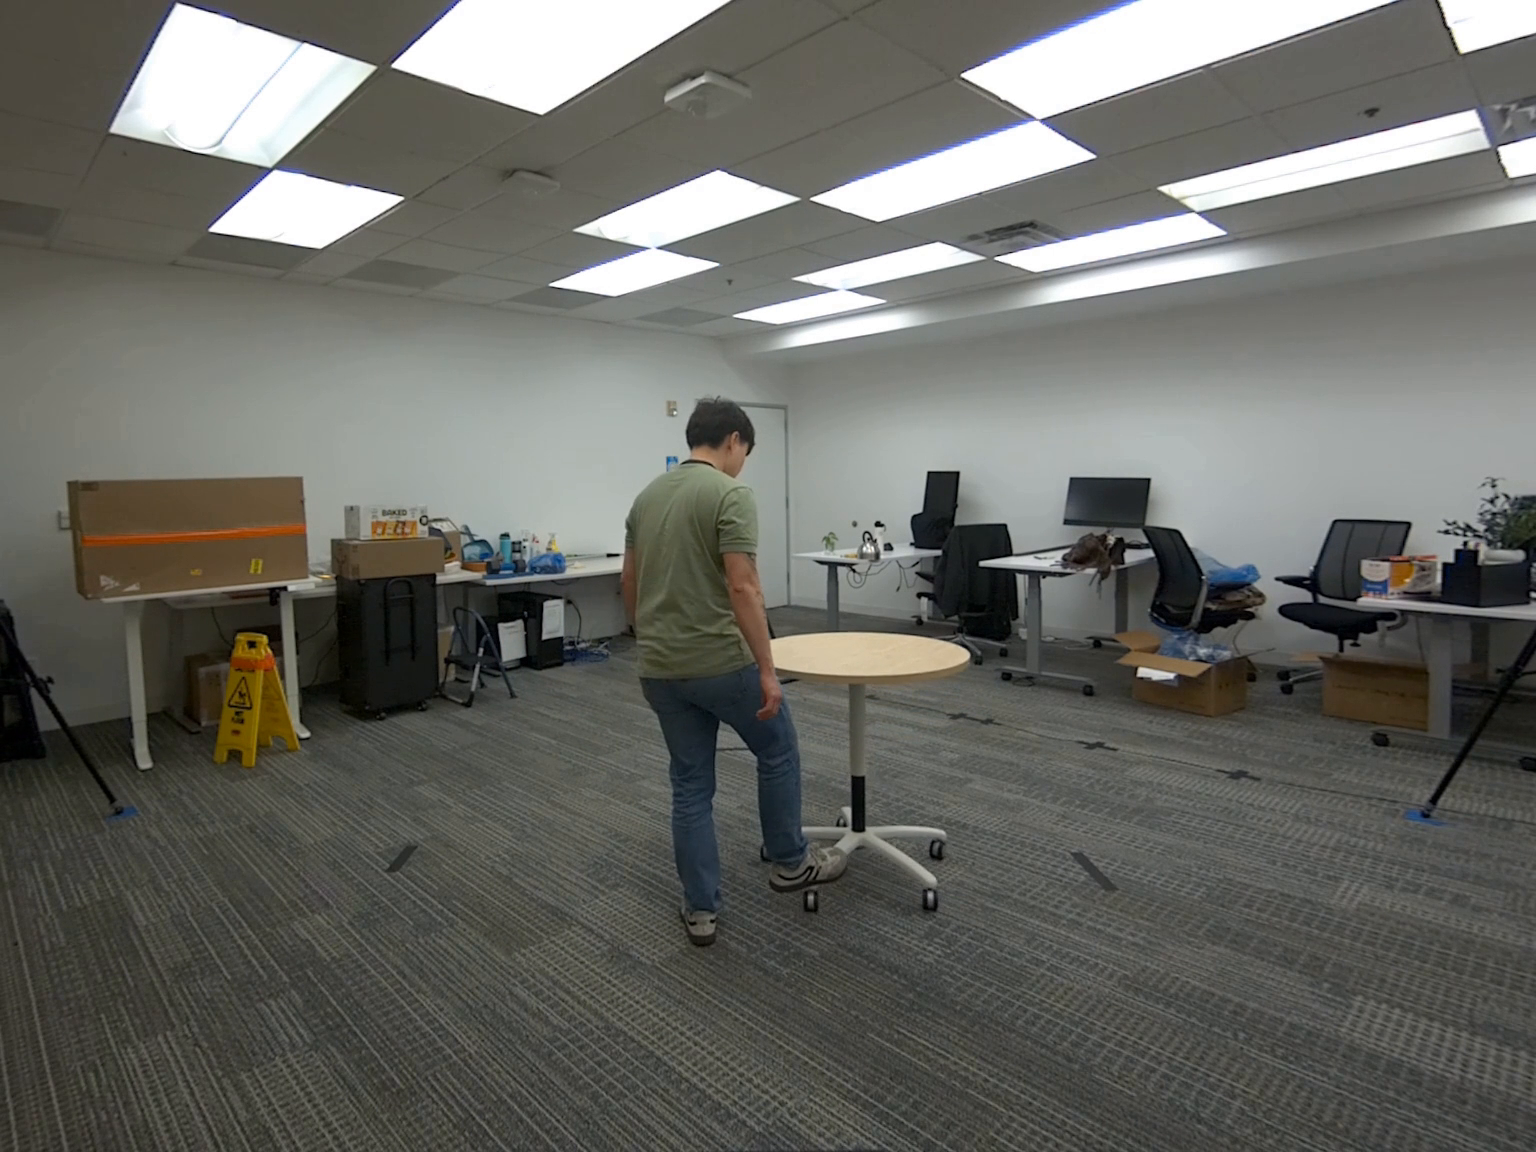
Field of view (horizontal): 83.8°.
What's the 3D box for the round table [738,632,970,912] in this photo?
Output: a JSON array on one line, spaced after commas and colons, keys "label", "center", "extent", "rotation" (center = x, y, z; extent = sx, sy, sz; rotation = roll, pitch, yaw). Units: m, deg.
[{"label": "round table", "center": [0.324, 0.658, 3.024], "extent": [0.763, 0.791, 0.768], "rotation": [-1, 5, -2]}]
